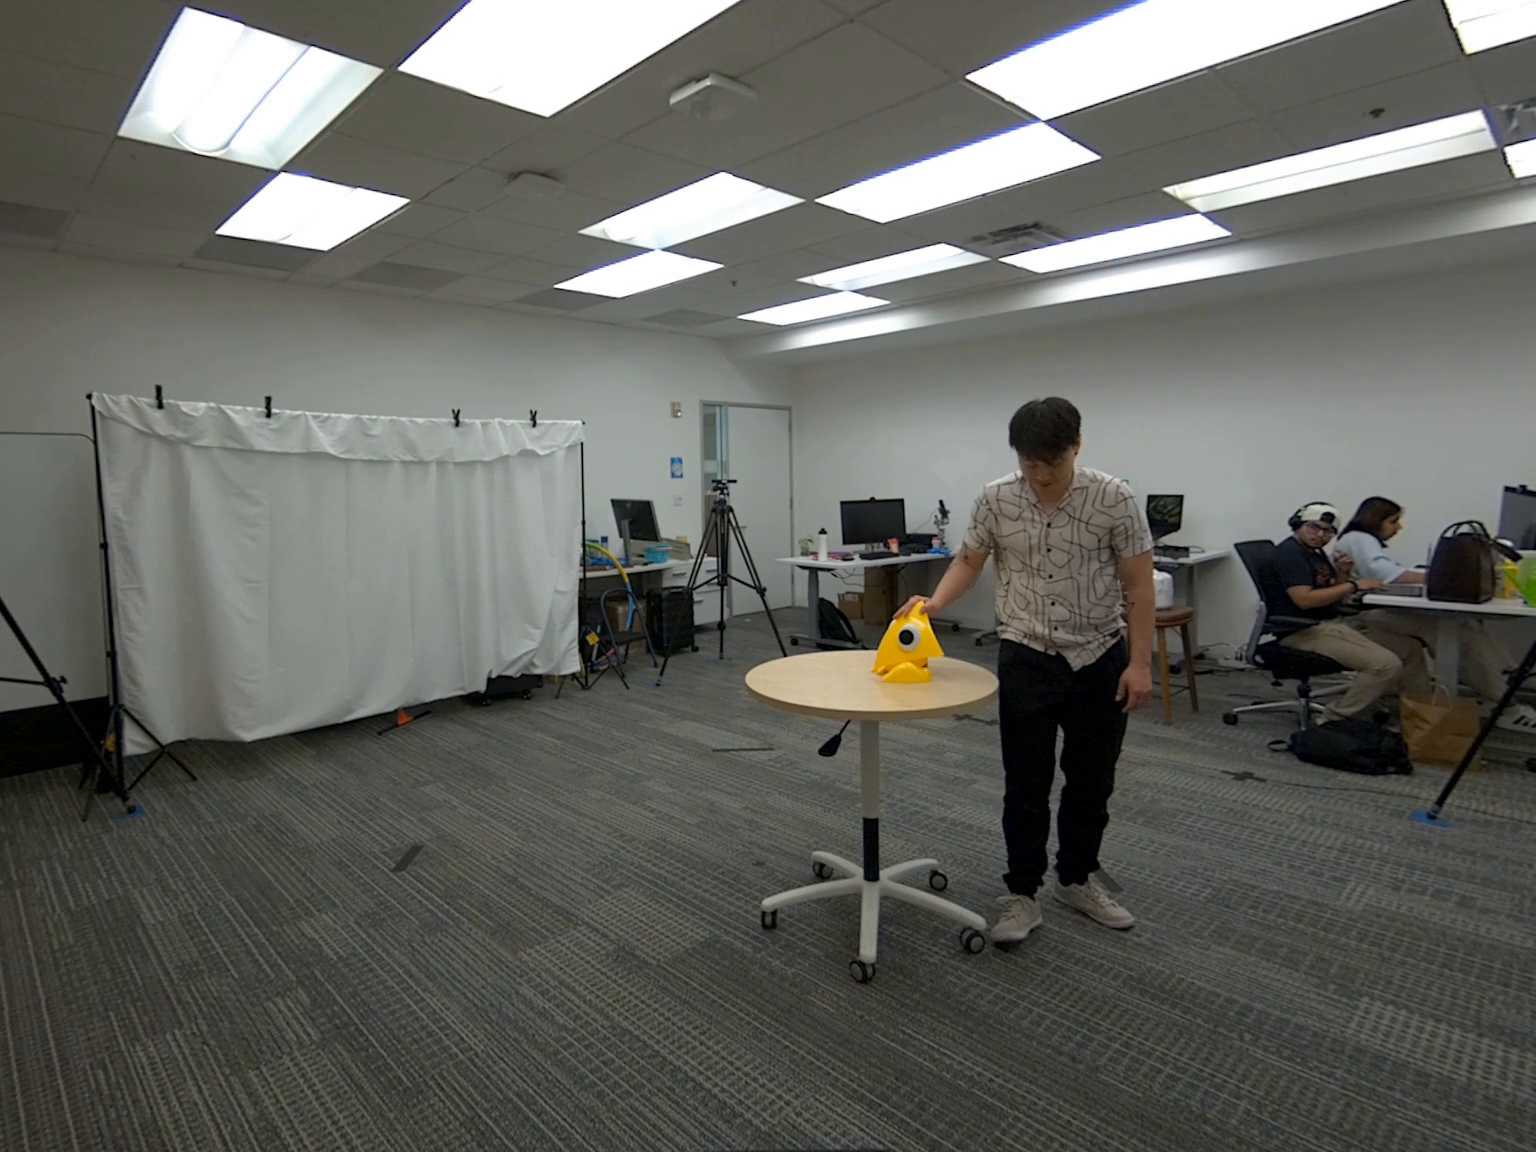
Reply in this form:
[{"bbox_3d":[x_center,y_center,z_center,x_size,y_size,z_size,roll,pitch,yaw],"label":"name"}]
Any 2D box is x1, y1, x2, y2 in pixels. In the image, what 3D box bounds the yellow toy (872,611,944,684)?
[{"bbox_3d":[0.431,0.195,2.632,0.192,0.230,0.207,-2,5,-8],"label":"yellow toy"}]
